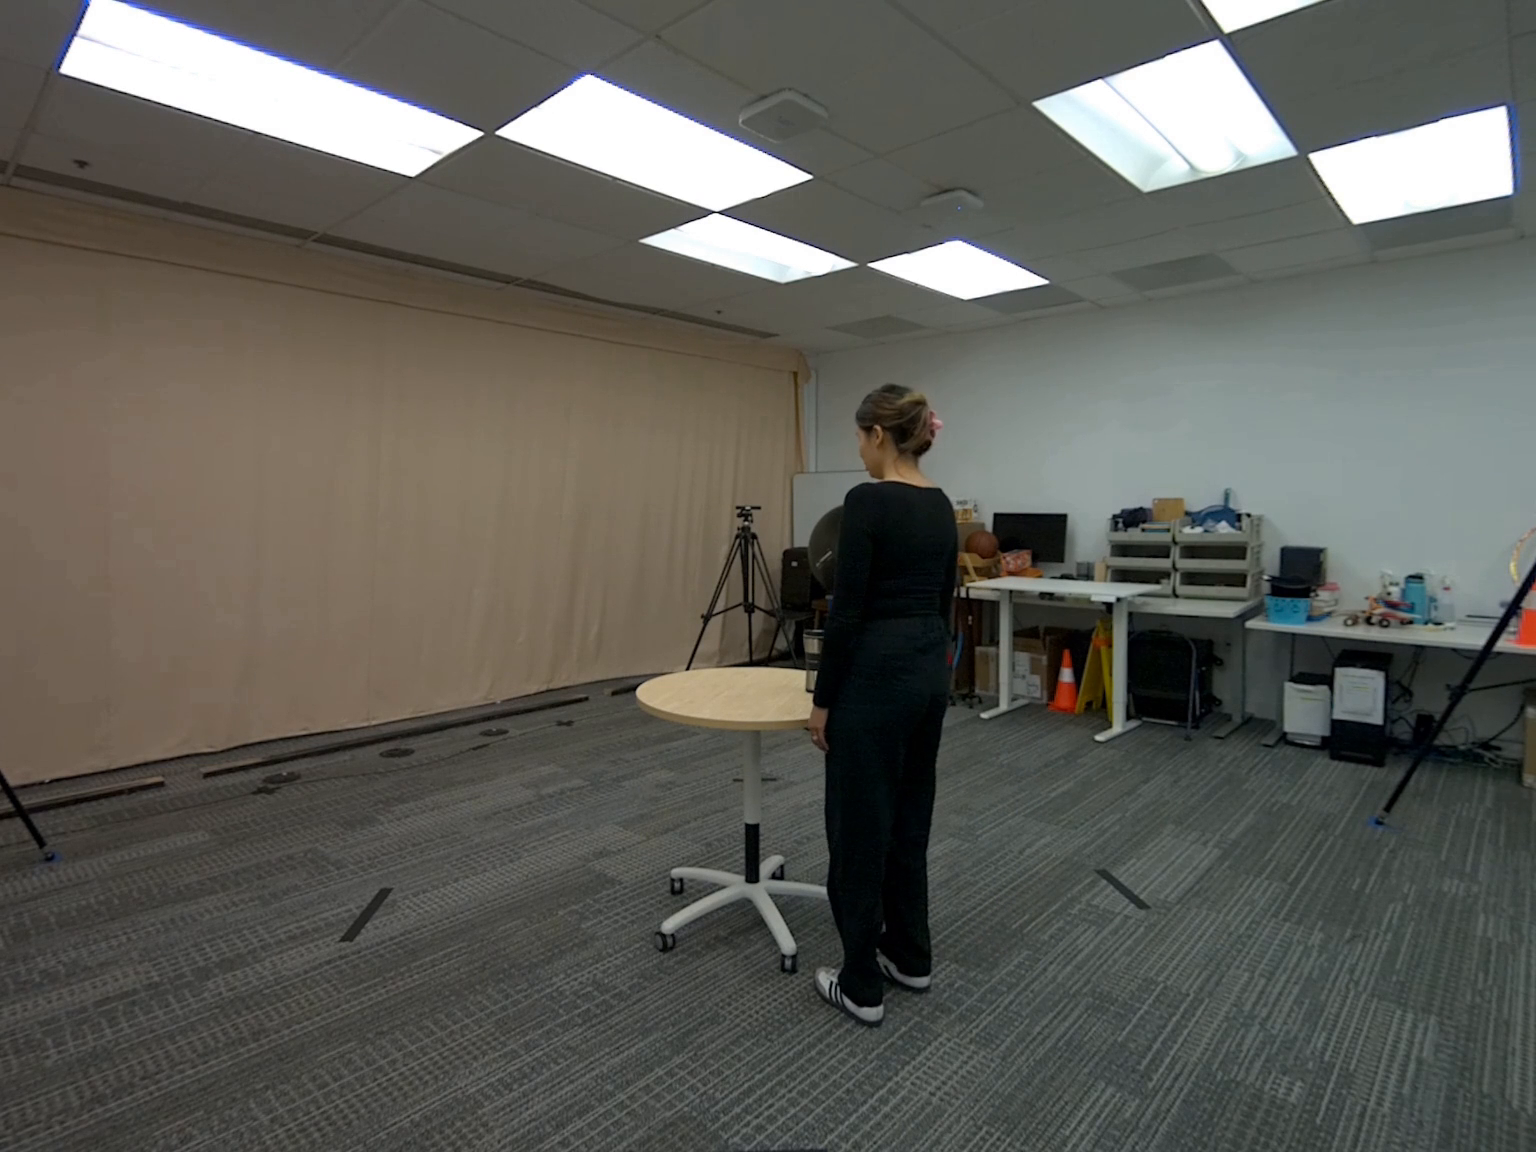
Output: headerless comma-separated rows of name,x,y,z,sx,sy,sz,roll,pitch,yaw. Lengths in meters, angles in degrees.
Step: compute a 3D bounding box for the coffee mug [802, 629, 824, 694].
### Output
coffee mug,0.179,0.281,2.740,0.085,0.203,0.125,2,0,-28
